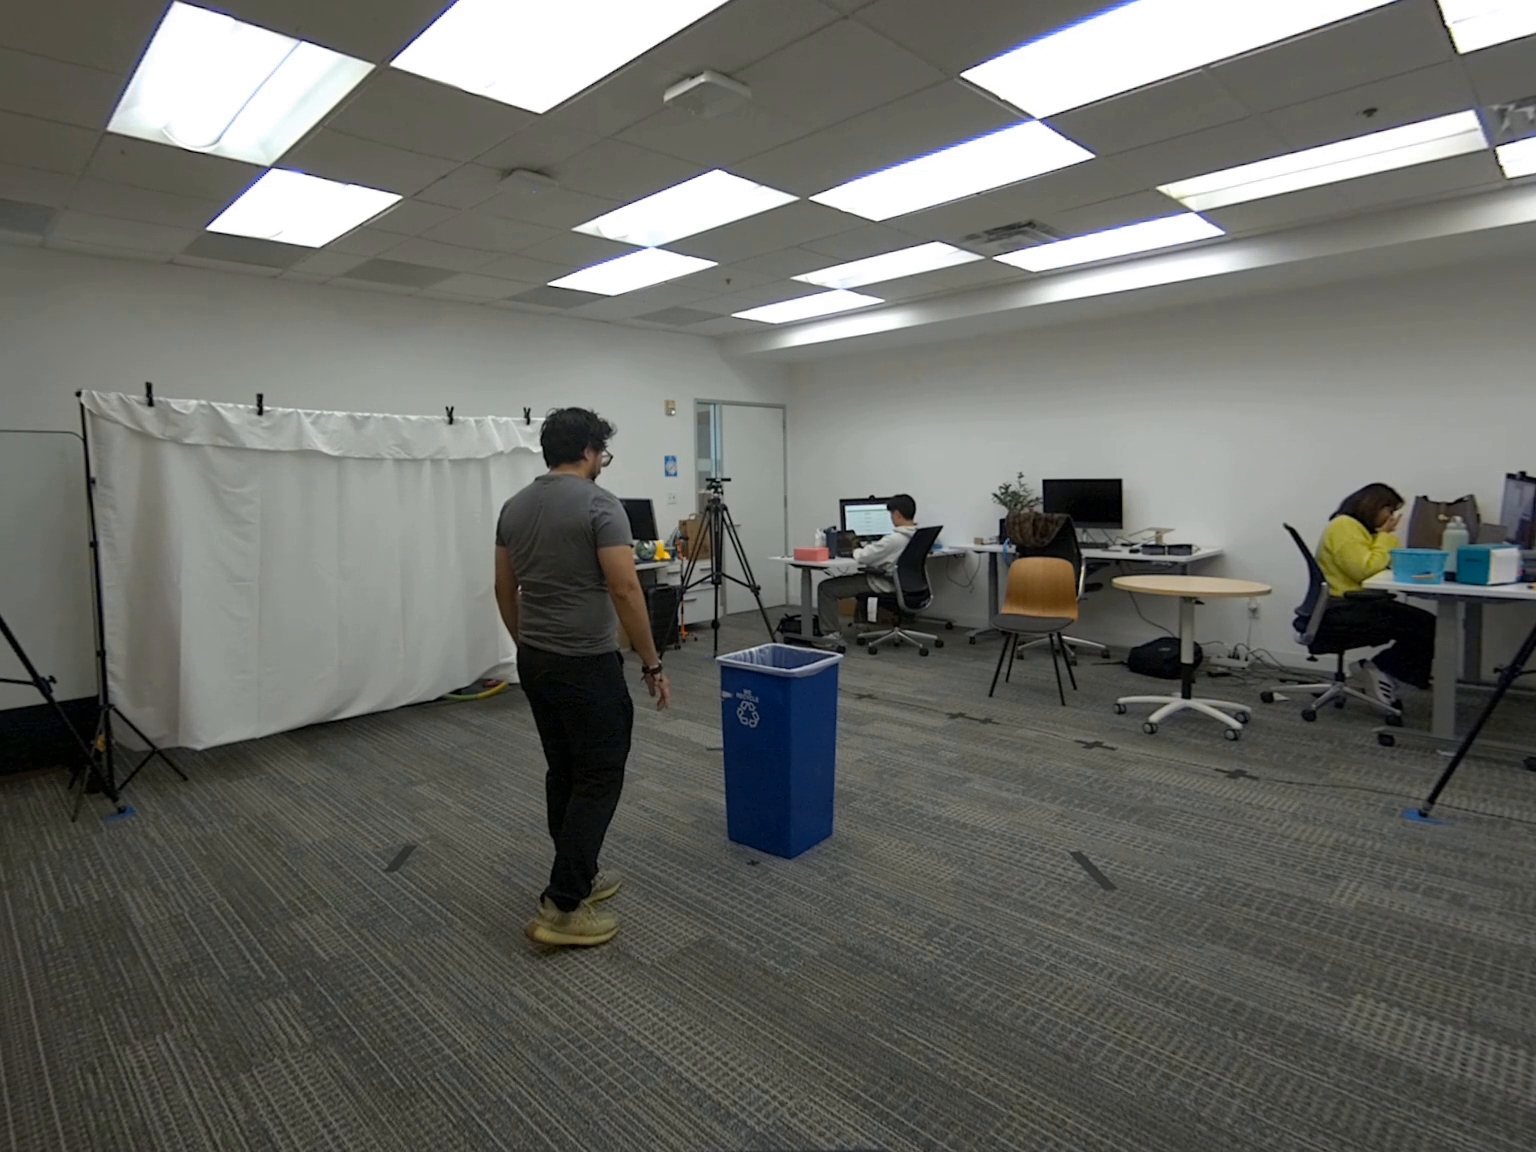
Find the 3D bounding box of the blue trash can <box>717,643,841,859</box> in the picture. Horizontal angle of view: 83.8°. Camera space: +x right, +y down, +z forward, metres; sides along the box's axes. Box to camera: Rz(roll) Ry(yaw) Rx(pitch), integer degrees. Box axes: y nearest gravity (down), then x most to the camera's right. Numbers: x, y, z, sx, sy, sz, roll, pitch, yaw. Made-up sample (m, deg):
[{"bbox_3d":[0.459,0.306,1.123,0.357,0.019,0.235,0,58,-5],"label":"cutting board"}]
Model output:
[{"bbox_3d":[0.055,0.660,3.303,0.385,0.711,0.368,2,5,38],"label":"blue trash can"}]
